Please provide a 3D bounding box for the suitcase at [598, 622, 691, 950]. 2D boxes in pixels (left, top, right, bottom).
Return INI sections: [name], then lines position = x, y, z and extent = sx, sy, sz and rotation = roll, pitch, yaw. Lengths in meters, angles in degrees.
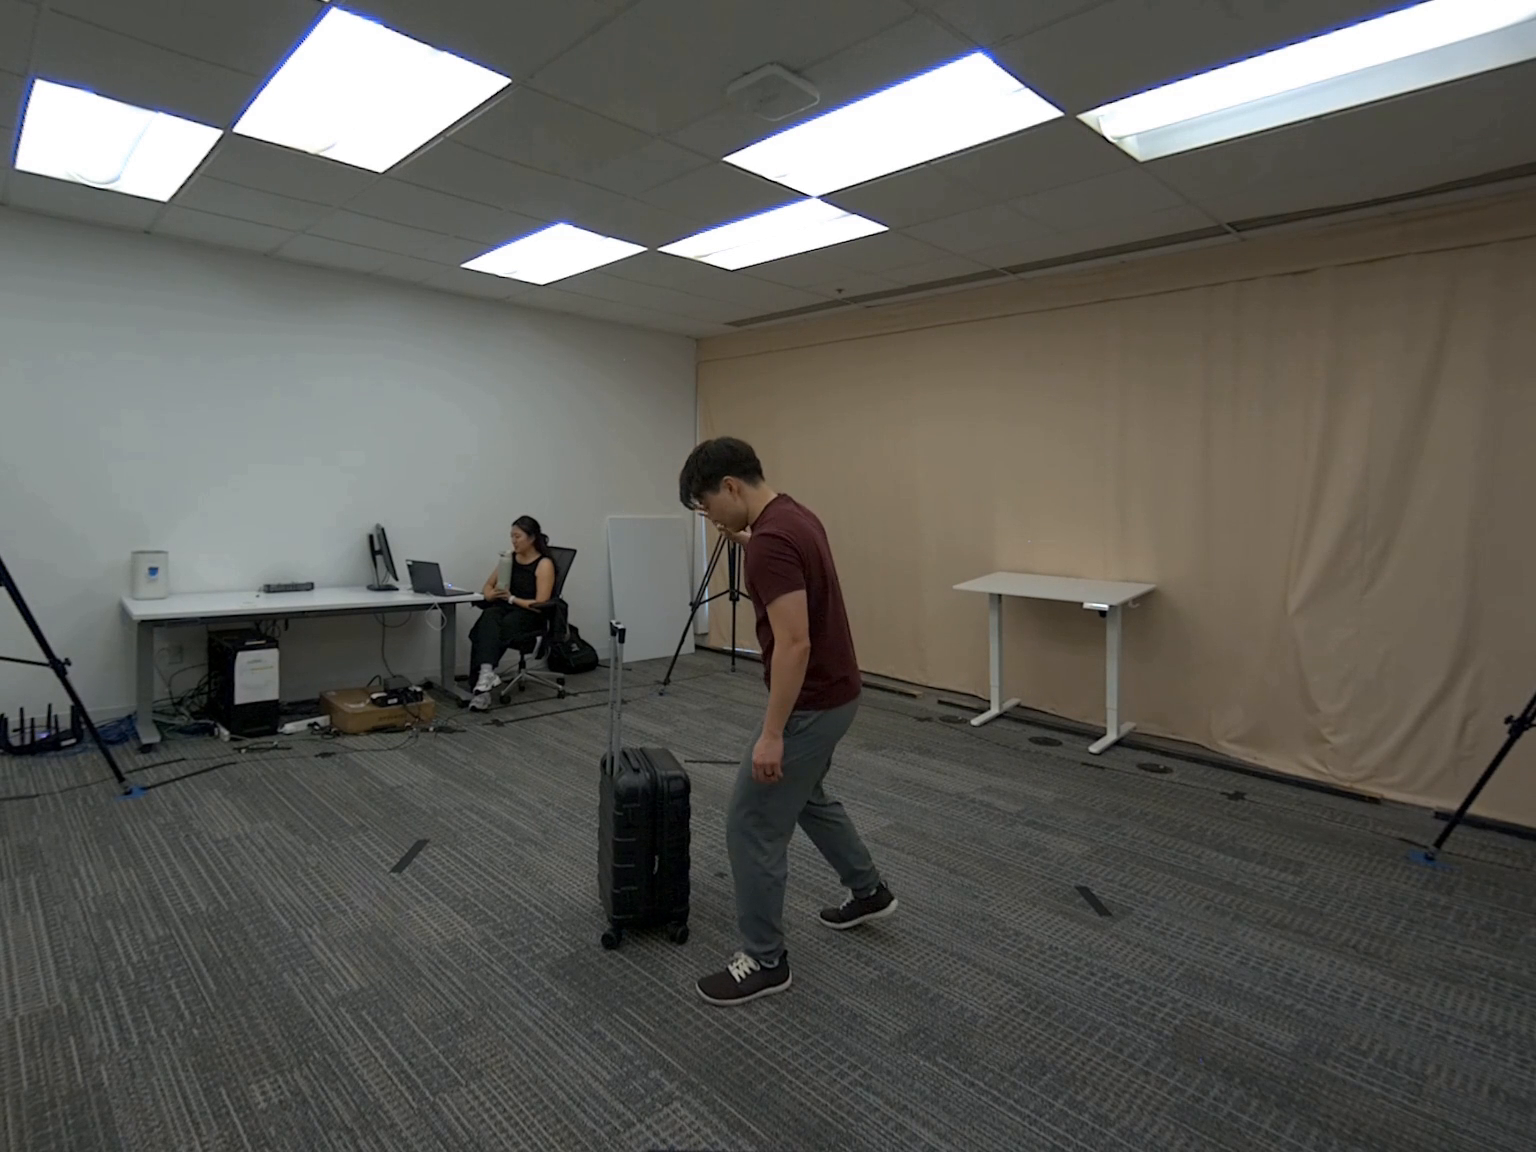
[suitcase]
position = -0.408, 0.660, 2.734
extent = 0.254, 0.976, 0.389
rotation = 2, 4, -14
